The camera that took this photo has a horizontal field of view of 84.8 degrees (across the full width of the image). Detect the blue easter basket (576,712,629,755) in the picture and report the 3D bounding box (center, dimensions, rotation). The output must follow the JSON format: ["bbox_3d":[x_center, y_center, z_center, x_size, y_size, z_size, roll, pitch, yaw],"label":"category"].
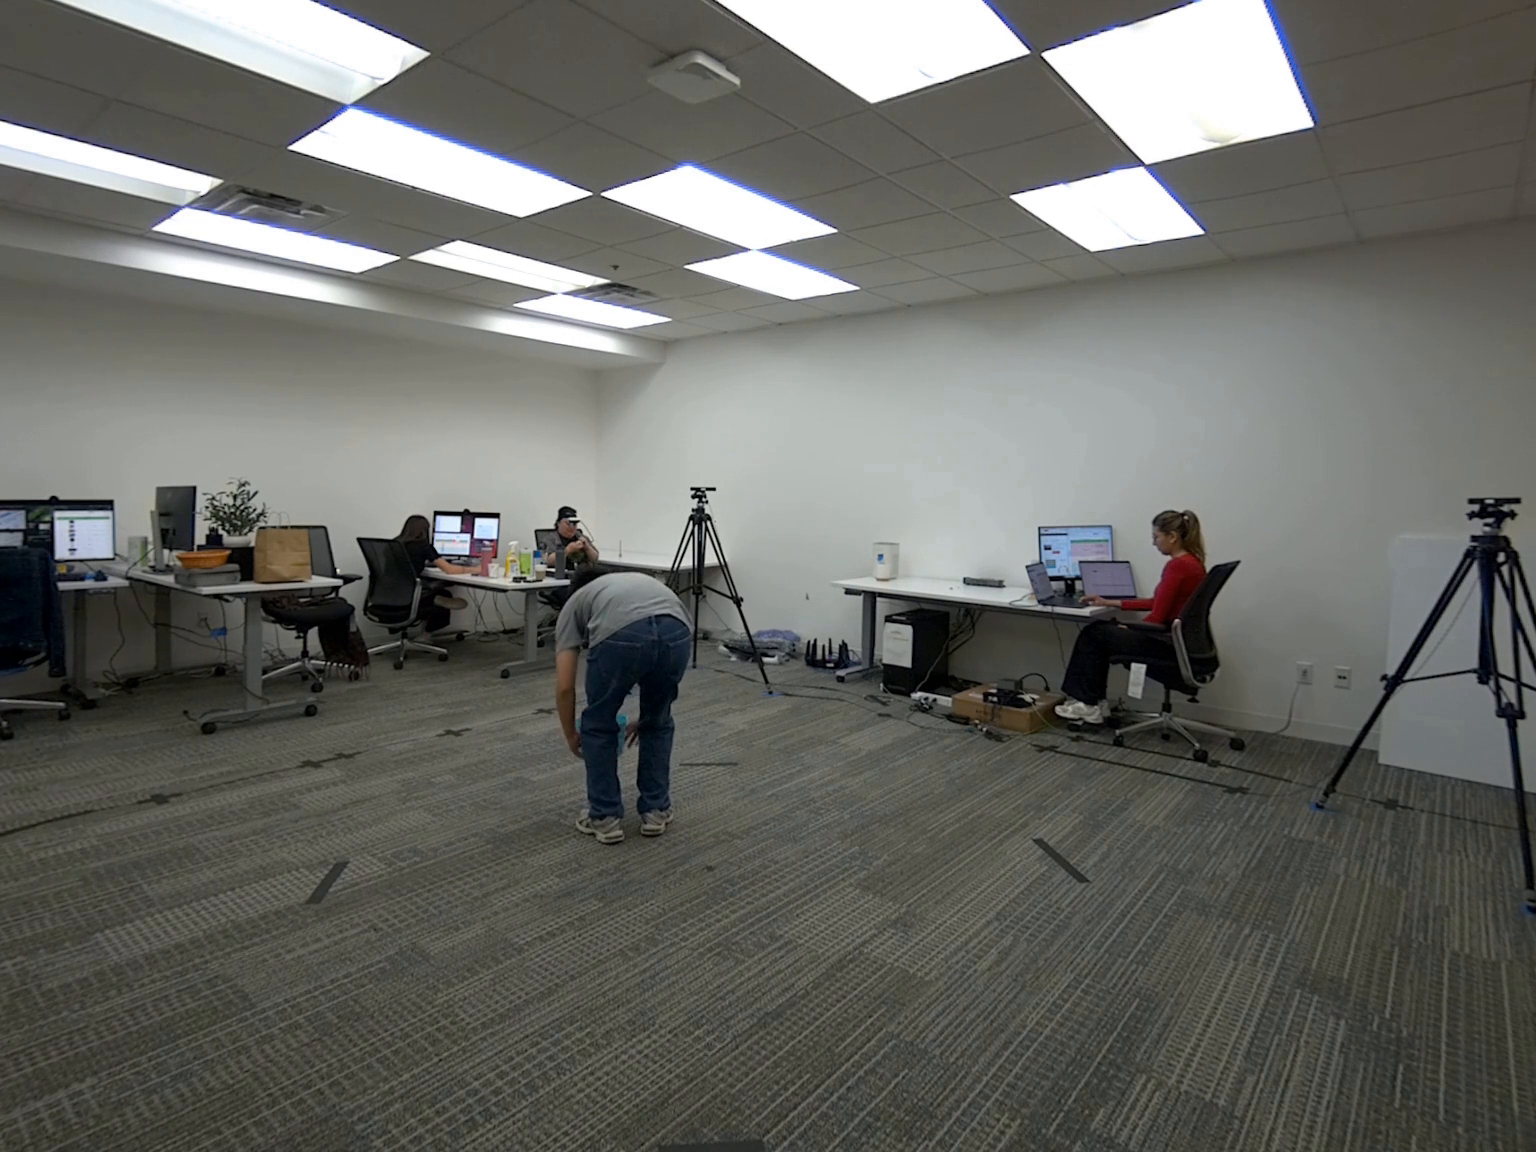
[{"bbox_3d":[-0.726,0.709,3.672,0.243,0.156,0.244,0,3,-2],"label":"blue easter basket"}]
